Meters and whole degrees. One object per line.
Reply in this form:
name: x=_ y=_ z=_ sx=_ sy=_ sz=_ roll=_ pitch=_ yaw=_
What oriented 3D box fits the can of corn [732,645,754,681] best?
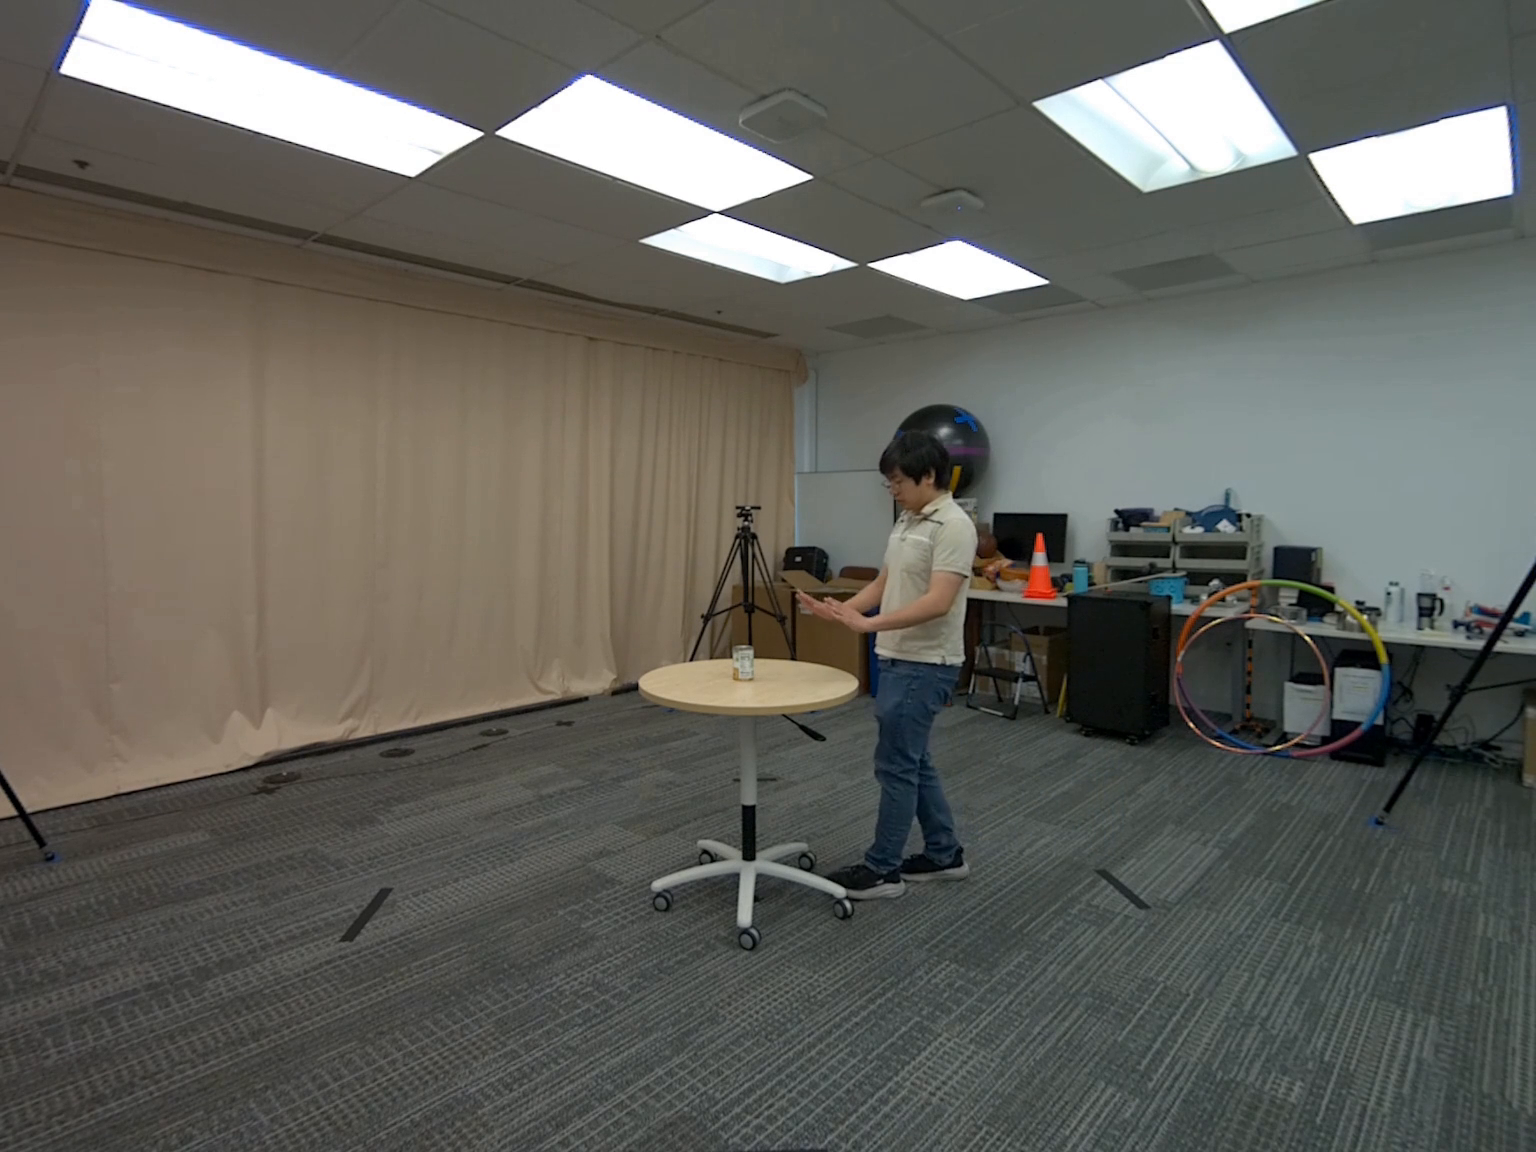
can of corn: x=-0.083 y=0.311 z=2.962 sx=0.074 sy=0.111 sz=0.074 roll=-1 pitch=4 yaw=-2
